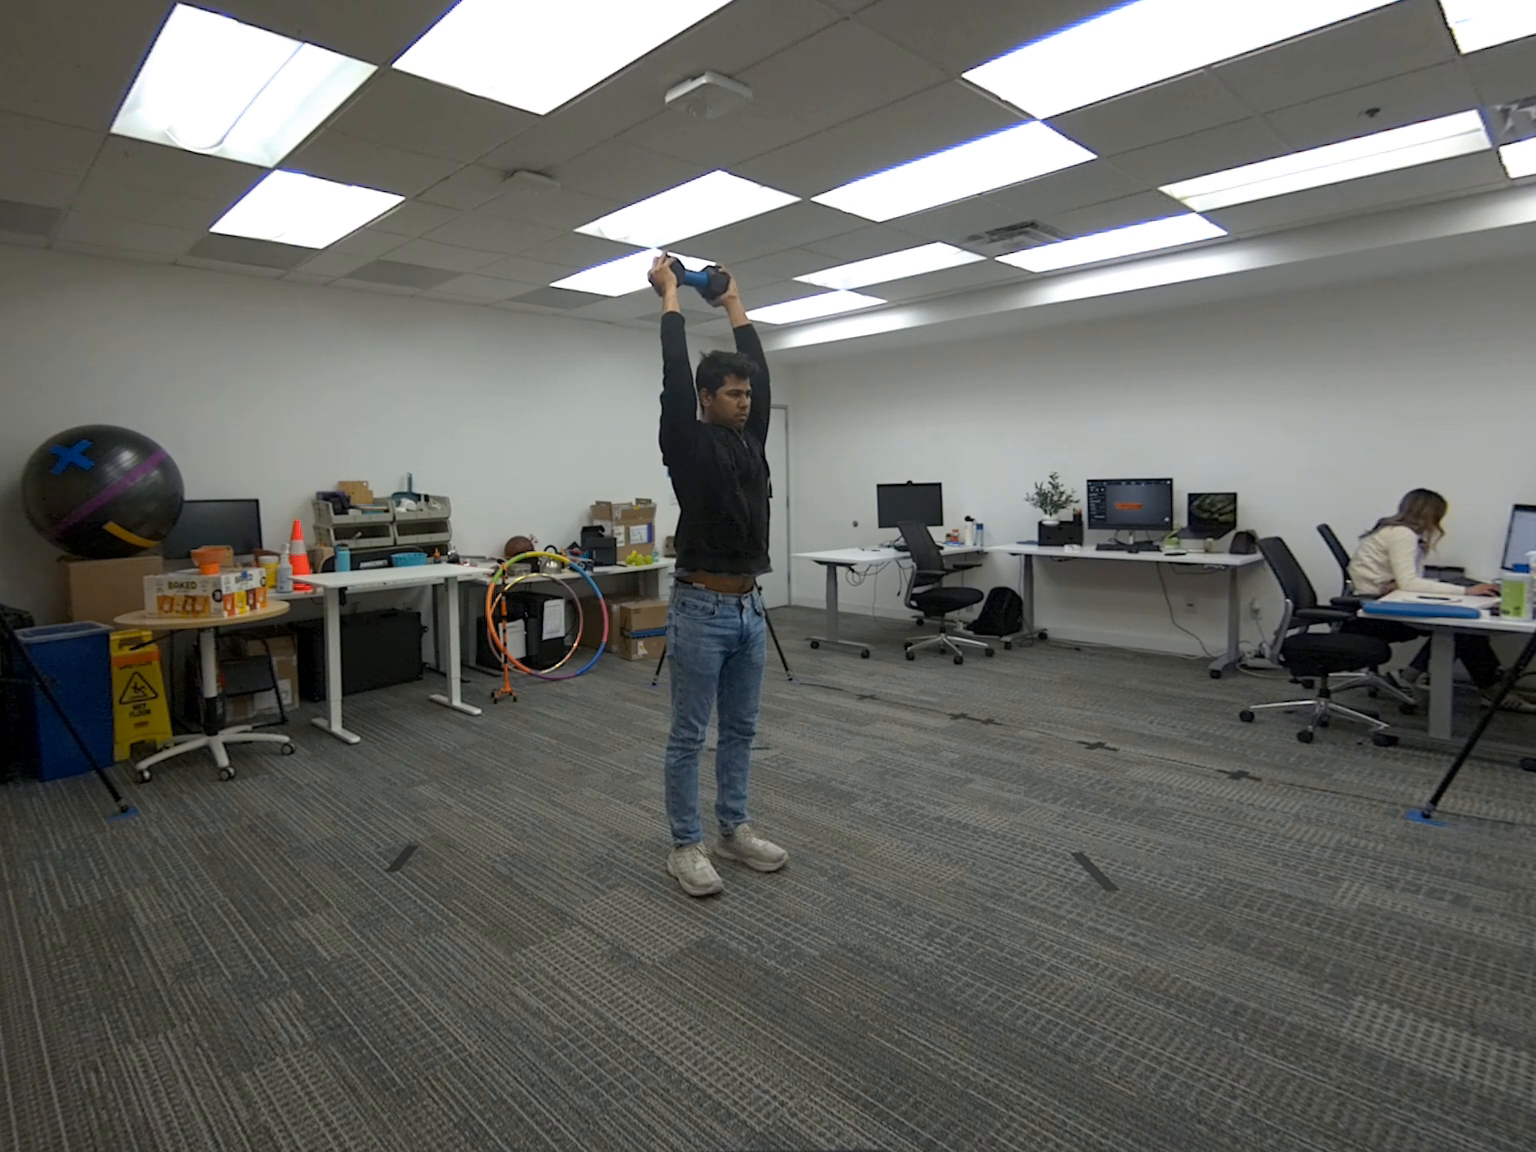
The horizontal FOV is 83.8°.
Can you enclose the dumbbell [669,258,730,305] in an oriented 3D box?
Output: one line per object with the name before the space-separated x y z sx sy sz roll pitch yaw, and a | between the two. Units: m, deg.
dumbbell | -0.275 -1.076 3.070 0.285 0.110 0.125 -4 -13 -44
